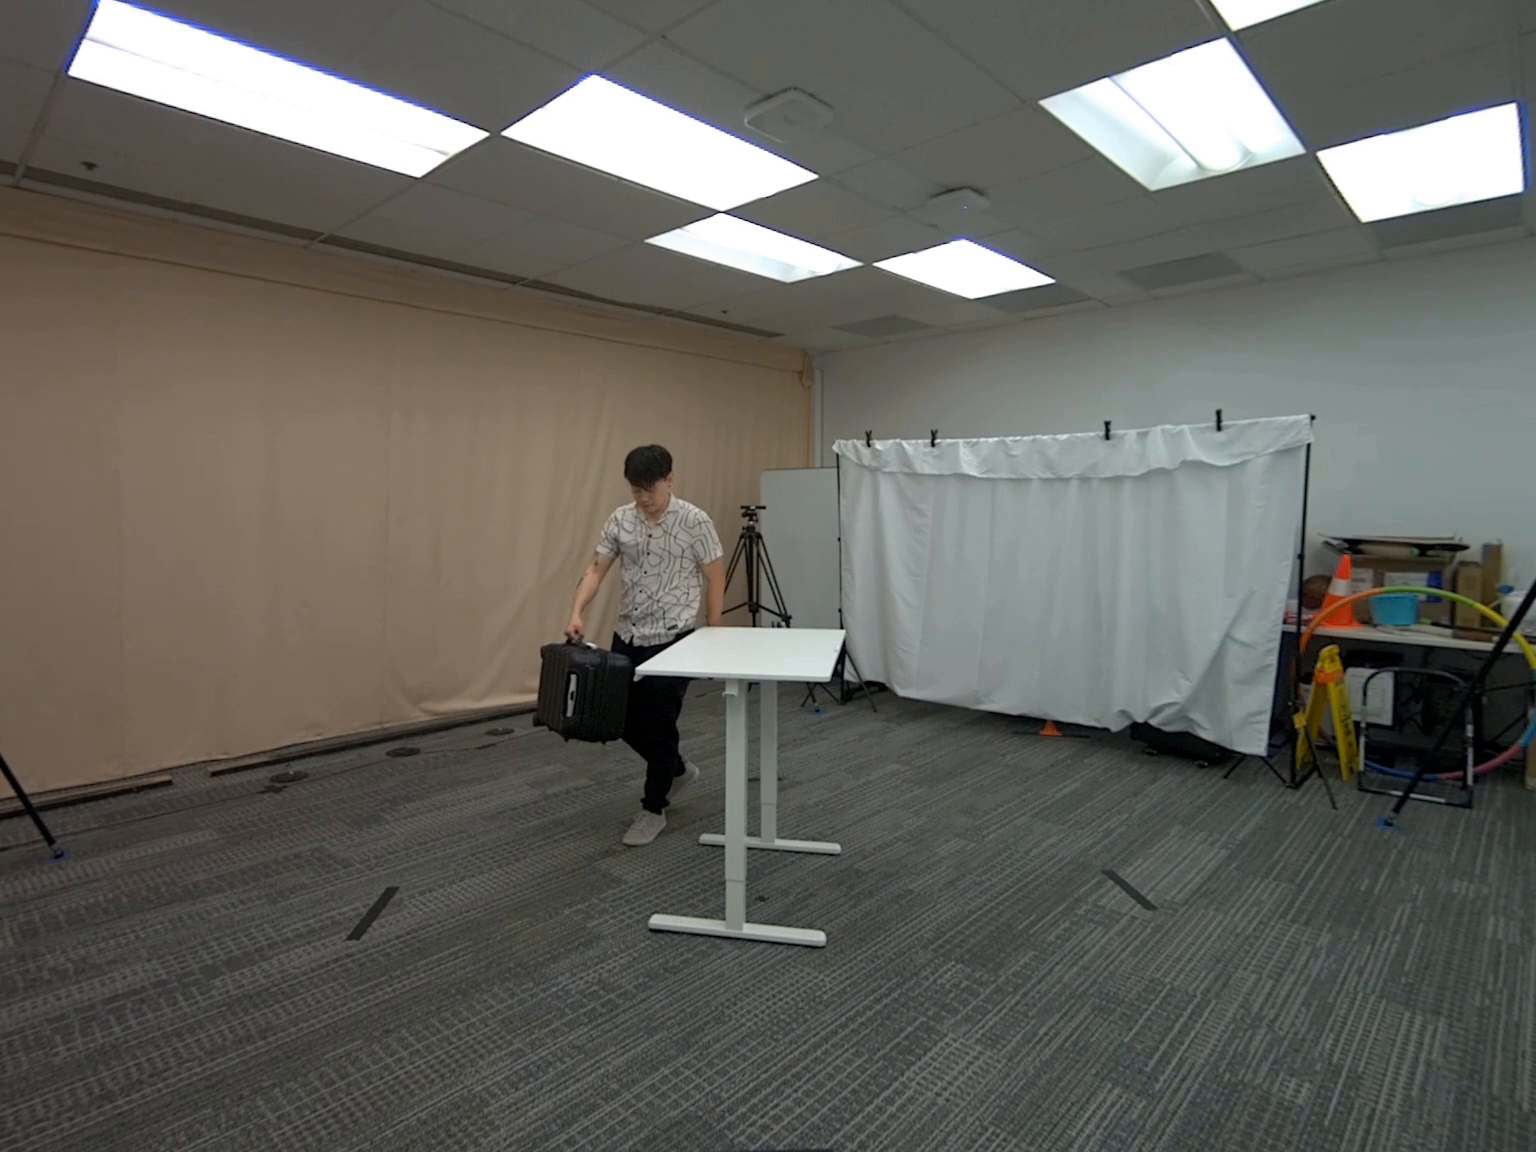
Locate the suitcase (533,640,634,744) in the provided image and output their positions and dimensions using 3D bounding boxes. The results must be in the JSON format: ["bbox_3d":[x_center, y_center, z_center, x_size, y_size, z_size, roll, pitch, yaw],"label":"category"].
[{"bbox_3d":[-0.762,0.459,3.434,0.242,0.376,0.563,9,-5,-27],"label":"suitcase"}]
